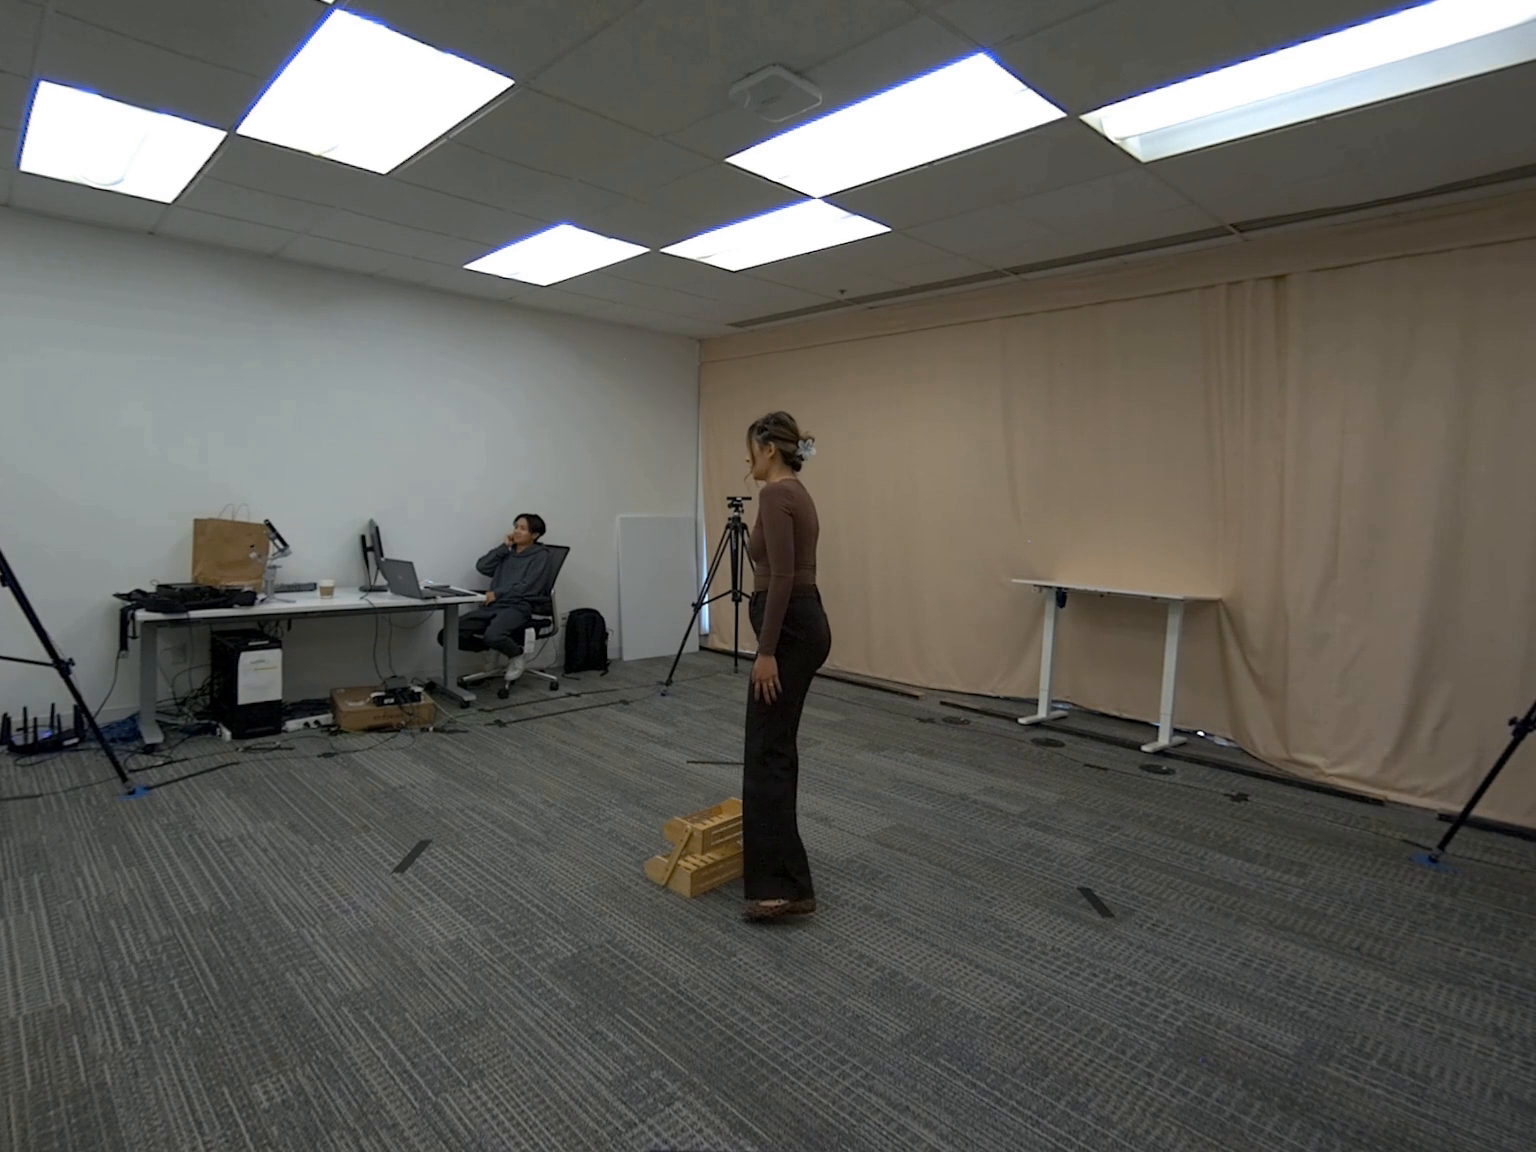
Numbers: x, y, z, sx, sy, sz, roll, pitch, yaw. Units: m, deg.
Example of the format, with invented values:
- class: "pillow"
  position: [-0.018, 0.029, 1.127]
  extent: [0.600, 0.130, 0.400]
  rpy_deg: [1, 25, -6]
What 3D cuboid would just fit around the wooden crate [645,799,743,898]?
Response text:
- class: "wooden crate"
  position: [-0.253, 0.975, 3.089]
  extent: [0.310, 0.272, 0.317]
  rpy_deg: [5, 6, 42]
